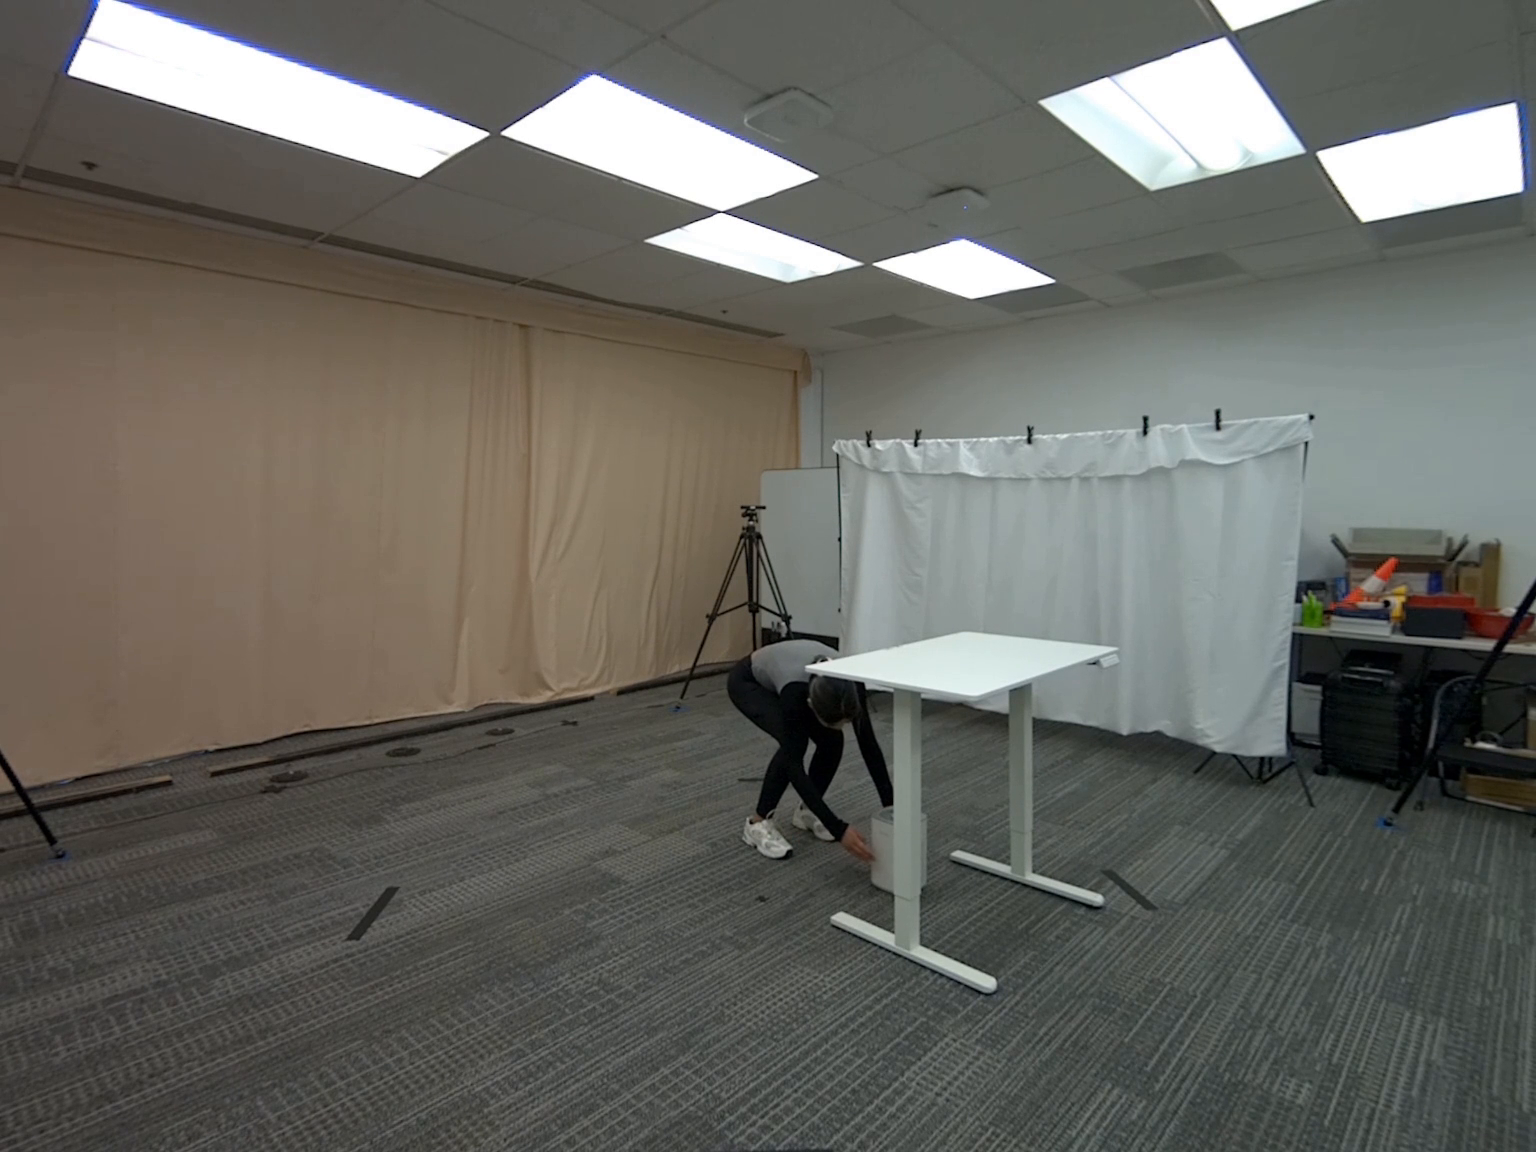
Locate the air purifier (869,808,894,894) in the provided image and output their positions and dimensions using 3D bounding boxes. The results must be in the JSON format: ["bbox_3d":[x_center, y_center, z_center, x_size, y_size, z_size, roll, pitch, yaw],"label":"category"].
[{"bbox_3d":[0.484,1.001,3.070,0.177,0.265,0.166,5,5,44],"label":"air purifier"}]
